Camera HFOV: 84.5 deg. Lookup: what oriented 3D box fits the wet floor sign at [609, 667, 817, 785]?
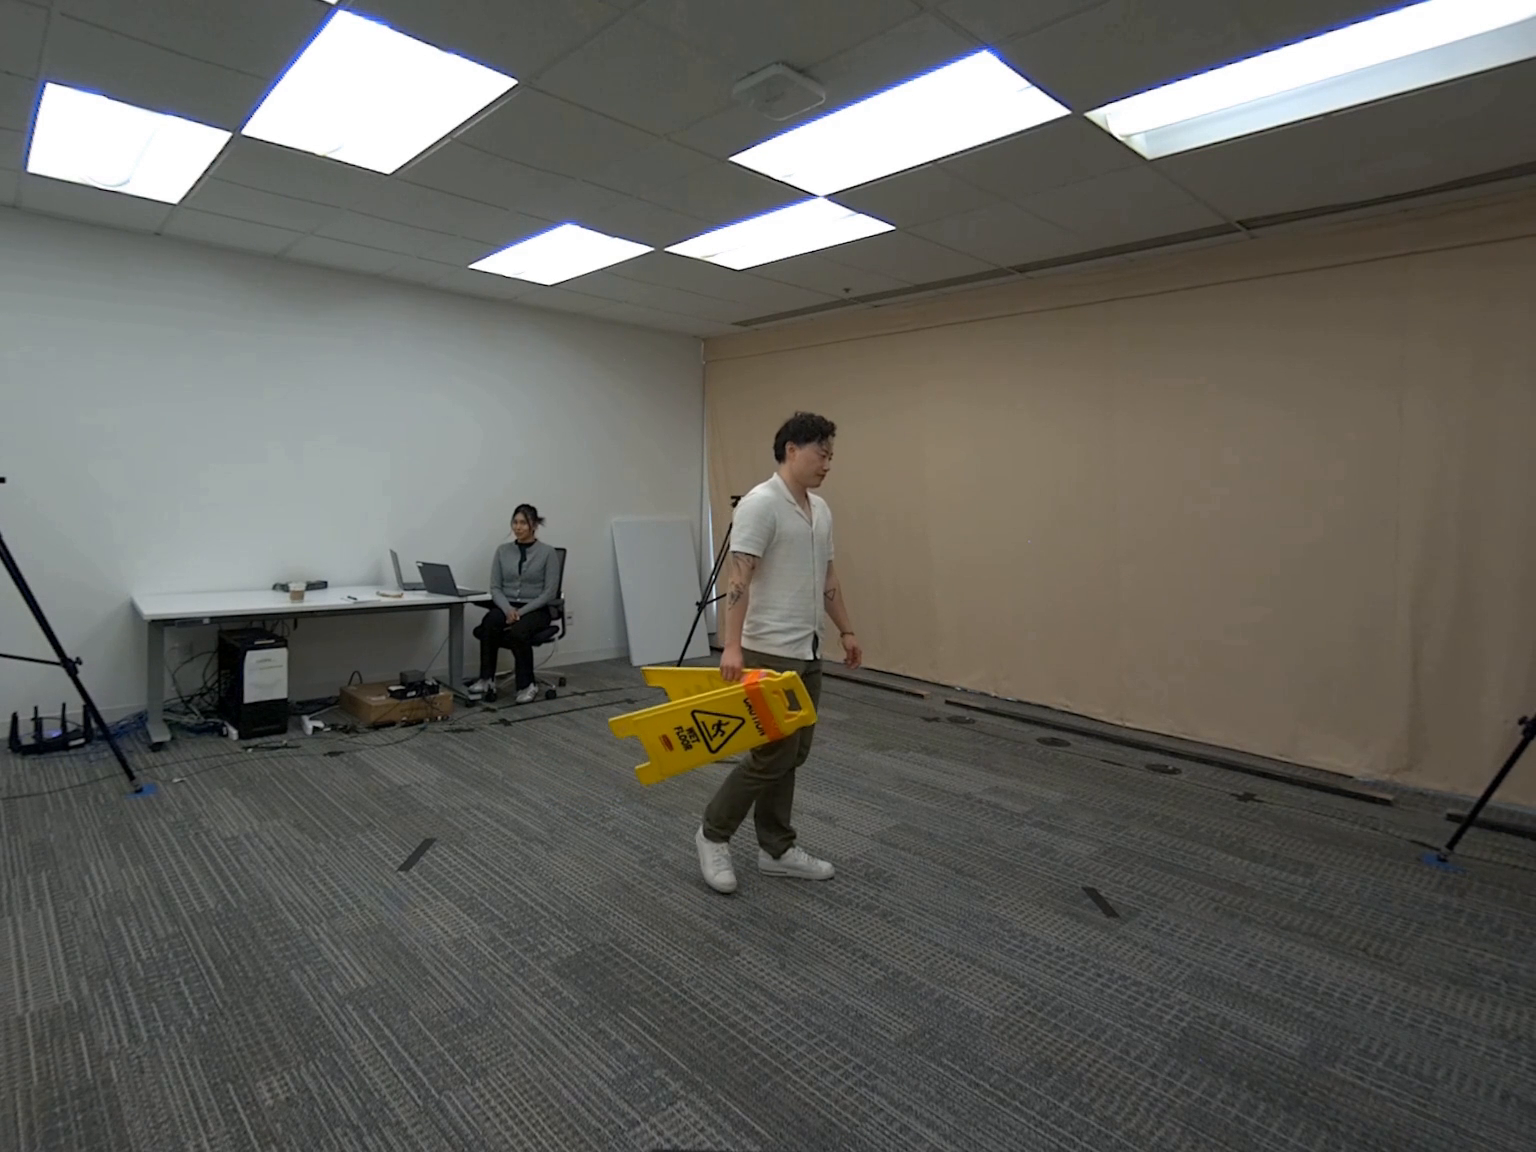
[{"bbox_3d":[-0.169,0.458,2.824,0.655,0.277,0.291,-14,23,25],"label":"wet floor sign"}]
